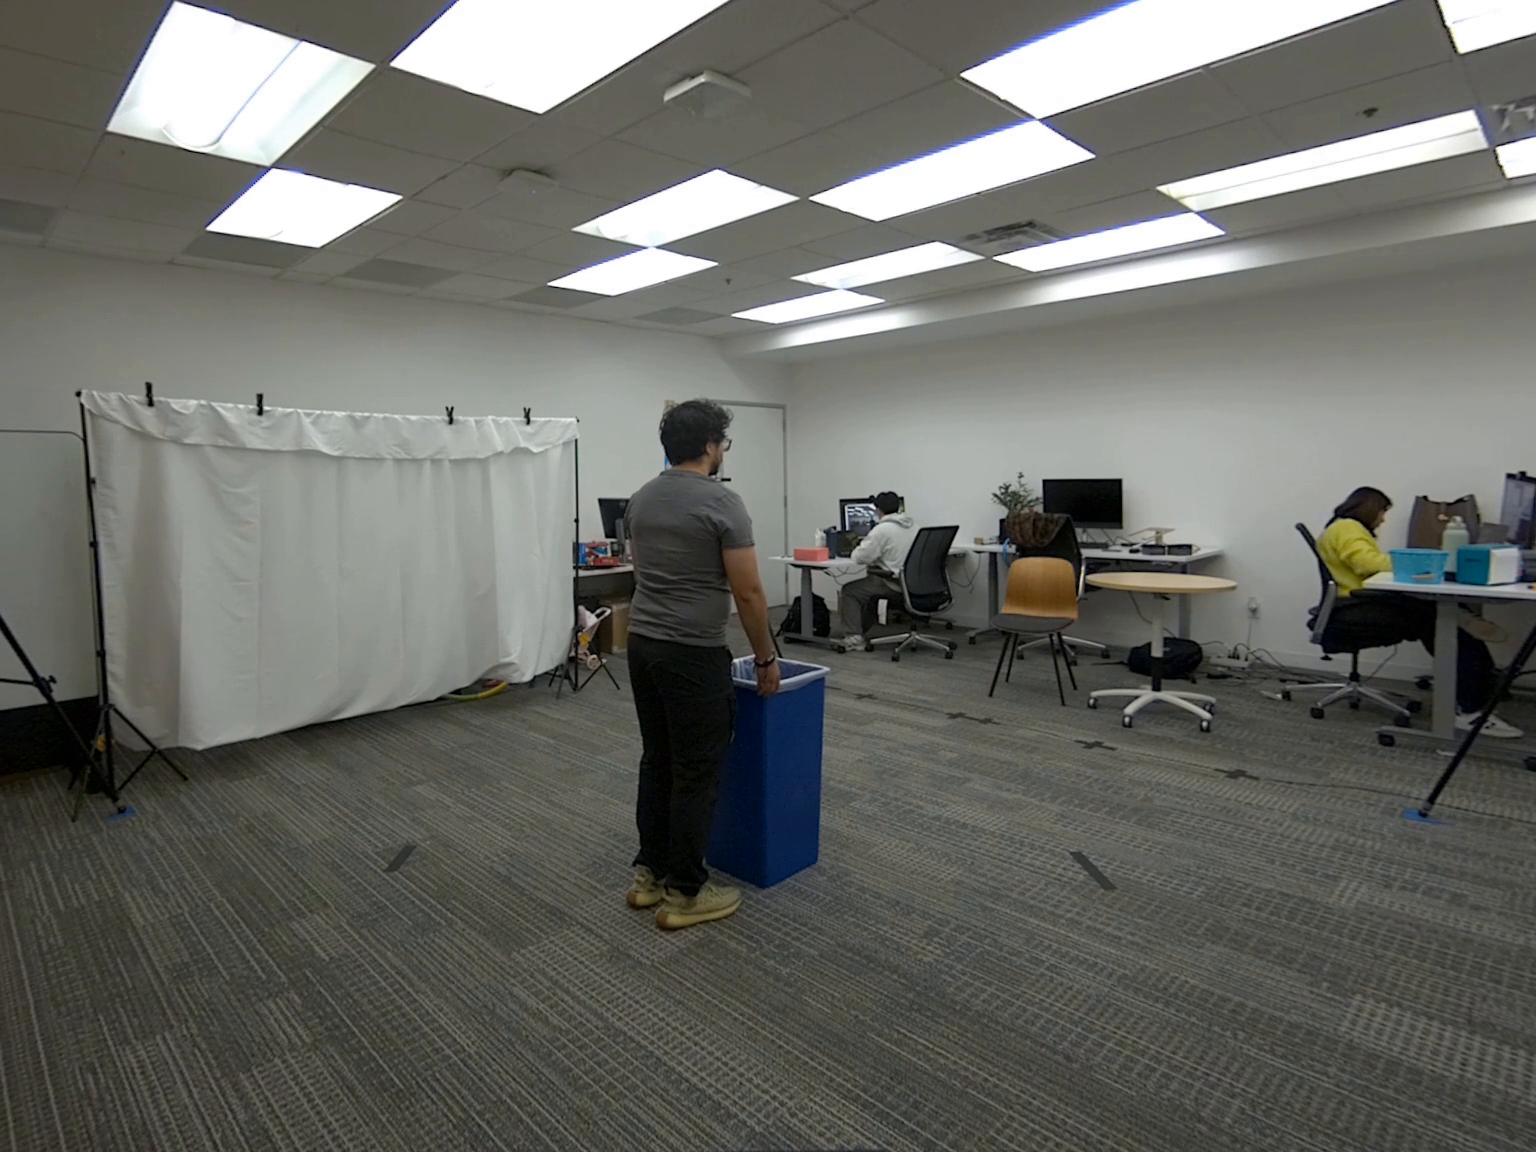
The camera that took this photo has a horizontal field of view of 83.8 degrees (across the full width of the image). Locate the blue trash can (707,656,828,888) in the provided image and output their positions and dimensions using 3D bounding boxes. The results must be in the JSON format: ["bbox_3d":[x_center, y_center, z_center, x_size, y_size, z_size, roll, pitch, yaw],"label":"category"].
[{"bbox_3d":[-0.022,0.686,3.082,0.390,0.711,0.364,4,5,42],"label":"blue trash can"}]
